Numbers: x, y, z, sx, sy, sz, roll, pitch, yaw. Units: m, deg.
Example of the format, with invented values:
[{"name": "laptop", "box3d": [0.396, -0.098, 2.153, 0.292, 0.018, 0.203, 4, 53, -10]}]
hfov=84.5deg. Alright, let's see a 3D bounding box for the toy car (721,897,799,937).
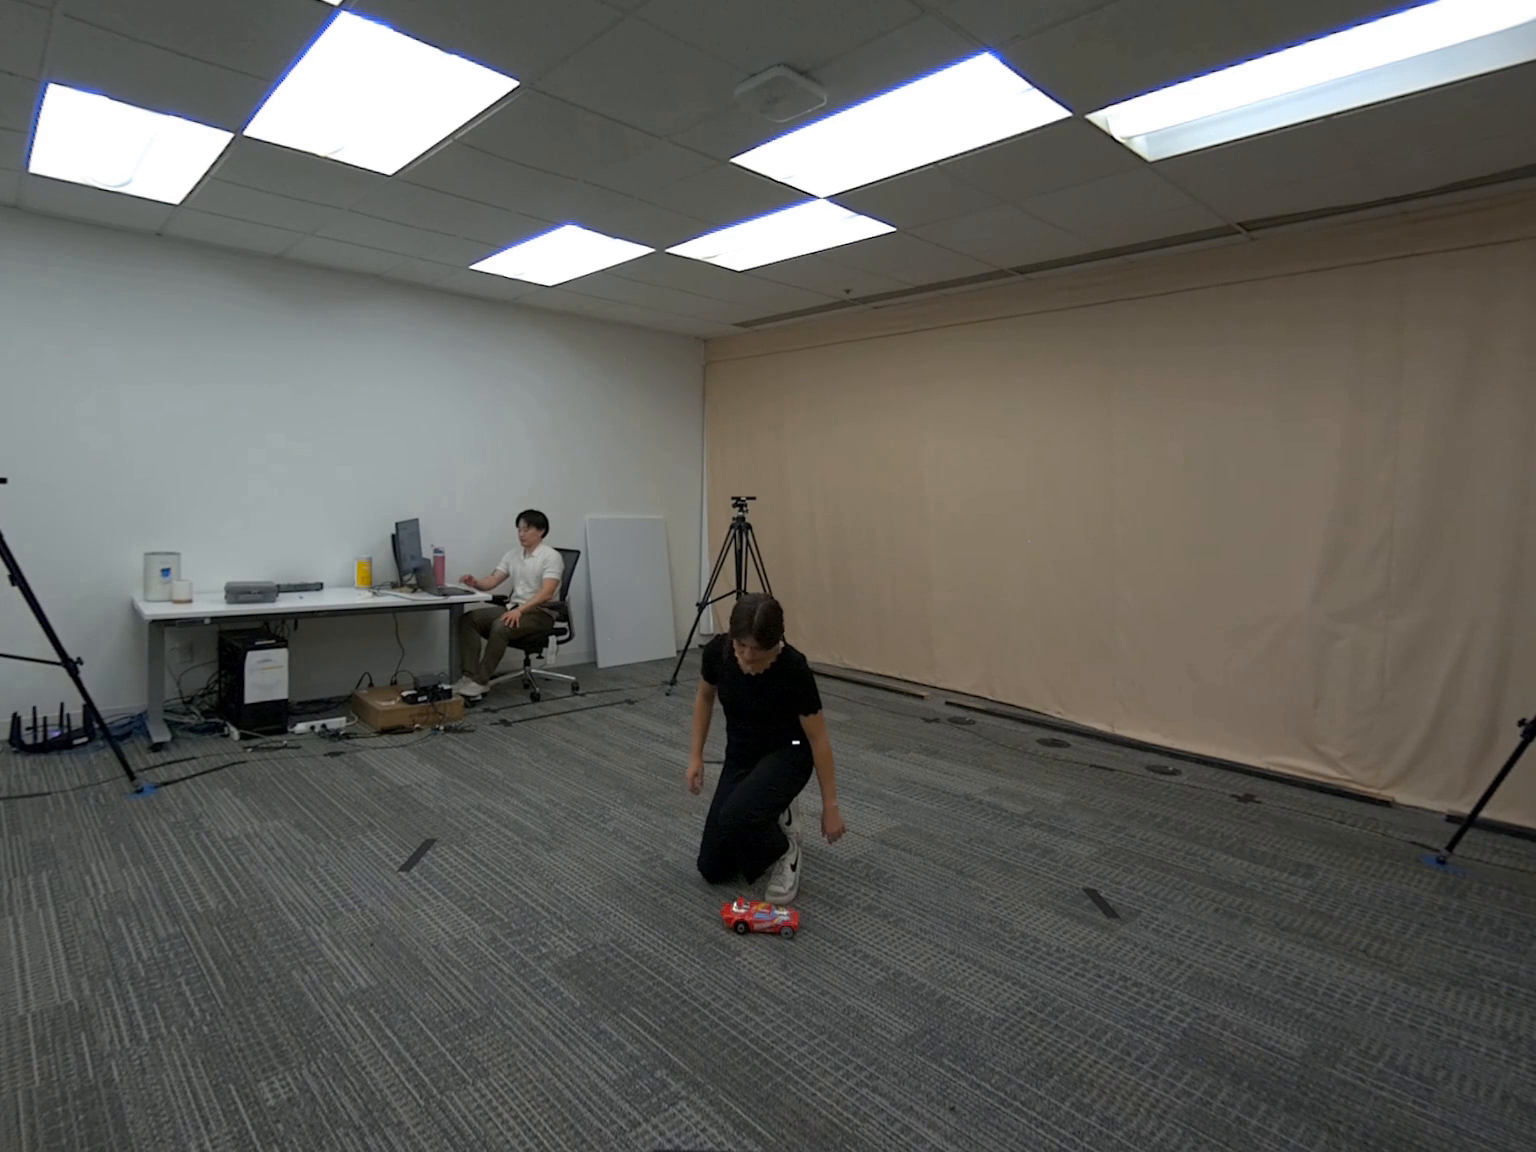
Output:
[{"name": "toy car", "box3d": [-0.046, 1.111, 2.727, 0.256, 0.083, 0.130, 13, 6, 6]}]
